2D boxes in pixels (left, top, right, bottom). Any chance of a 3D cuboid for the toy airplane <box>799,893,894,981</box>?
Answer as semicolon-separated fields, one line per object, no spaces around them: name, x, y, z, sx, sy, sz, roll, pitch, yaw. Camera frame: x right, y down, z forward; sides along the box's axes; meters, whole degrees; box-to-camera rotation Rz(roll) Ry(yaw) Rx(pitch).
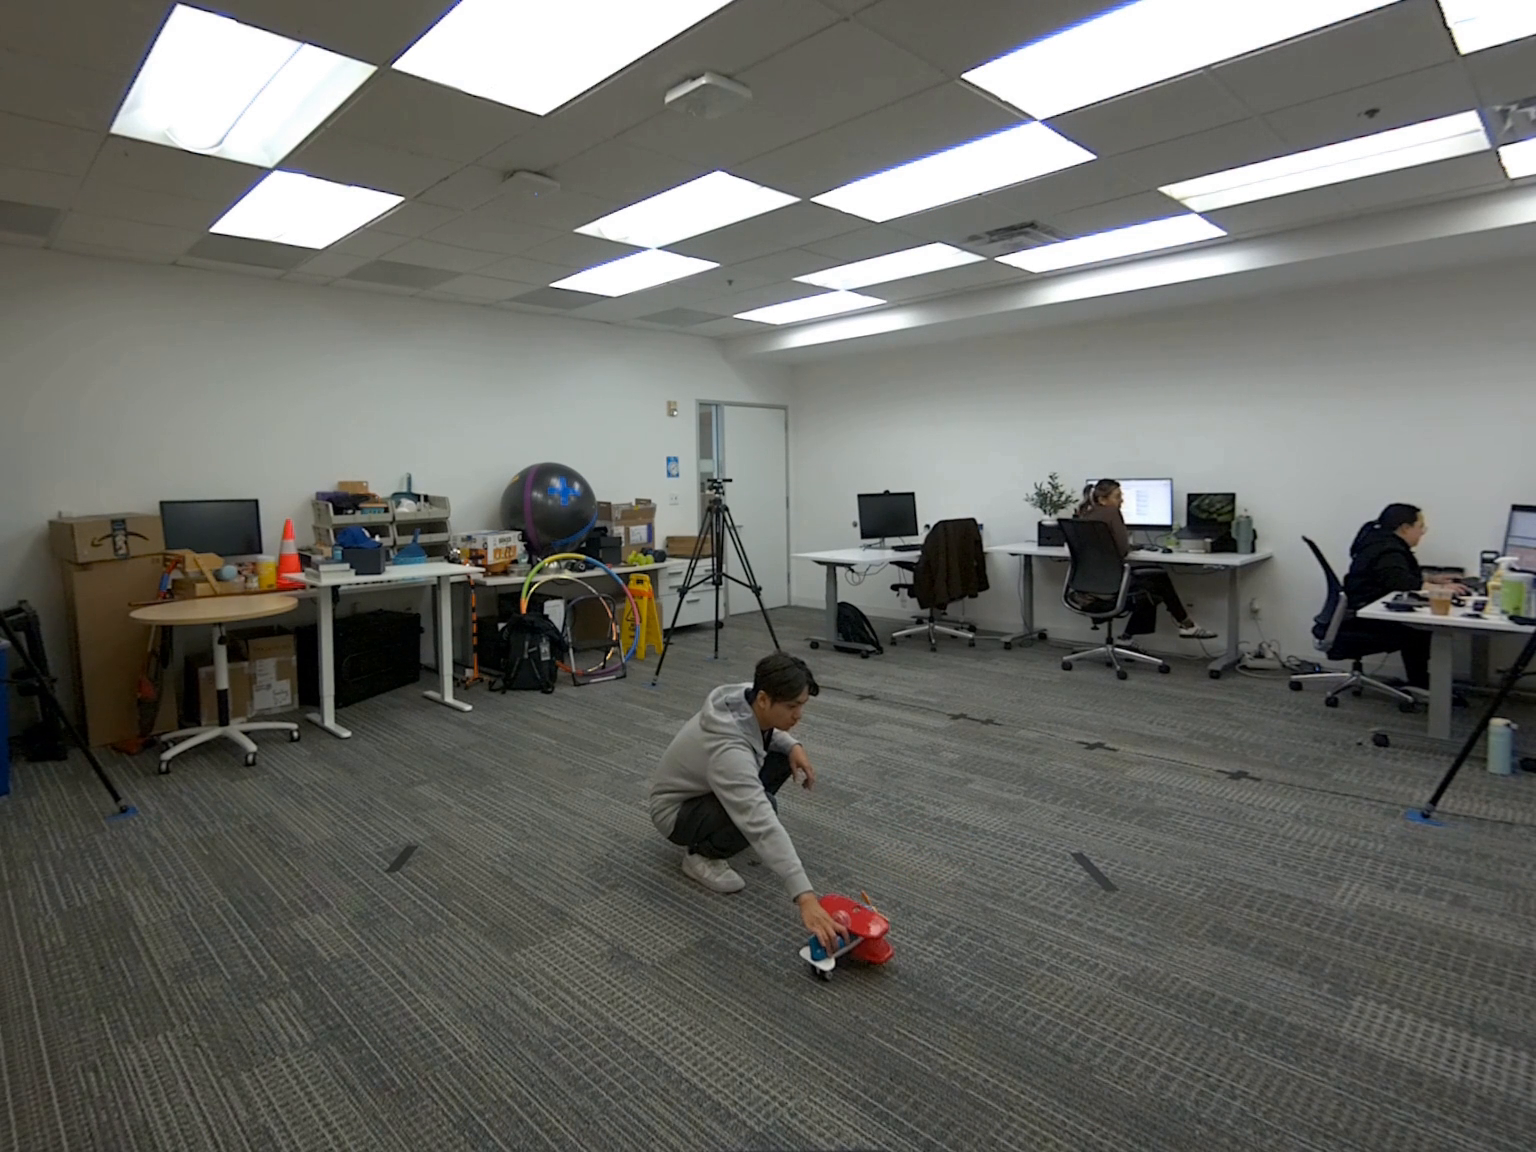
toy airplane;0.243;1.044;2.431;0.257;0.156;0.254;2;4;24
